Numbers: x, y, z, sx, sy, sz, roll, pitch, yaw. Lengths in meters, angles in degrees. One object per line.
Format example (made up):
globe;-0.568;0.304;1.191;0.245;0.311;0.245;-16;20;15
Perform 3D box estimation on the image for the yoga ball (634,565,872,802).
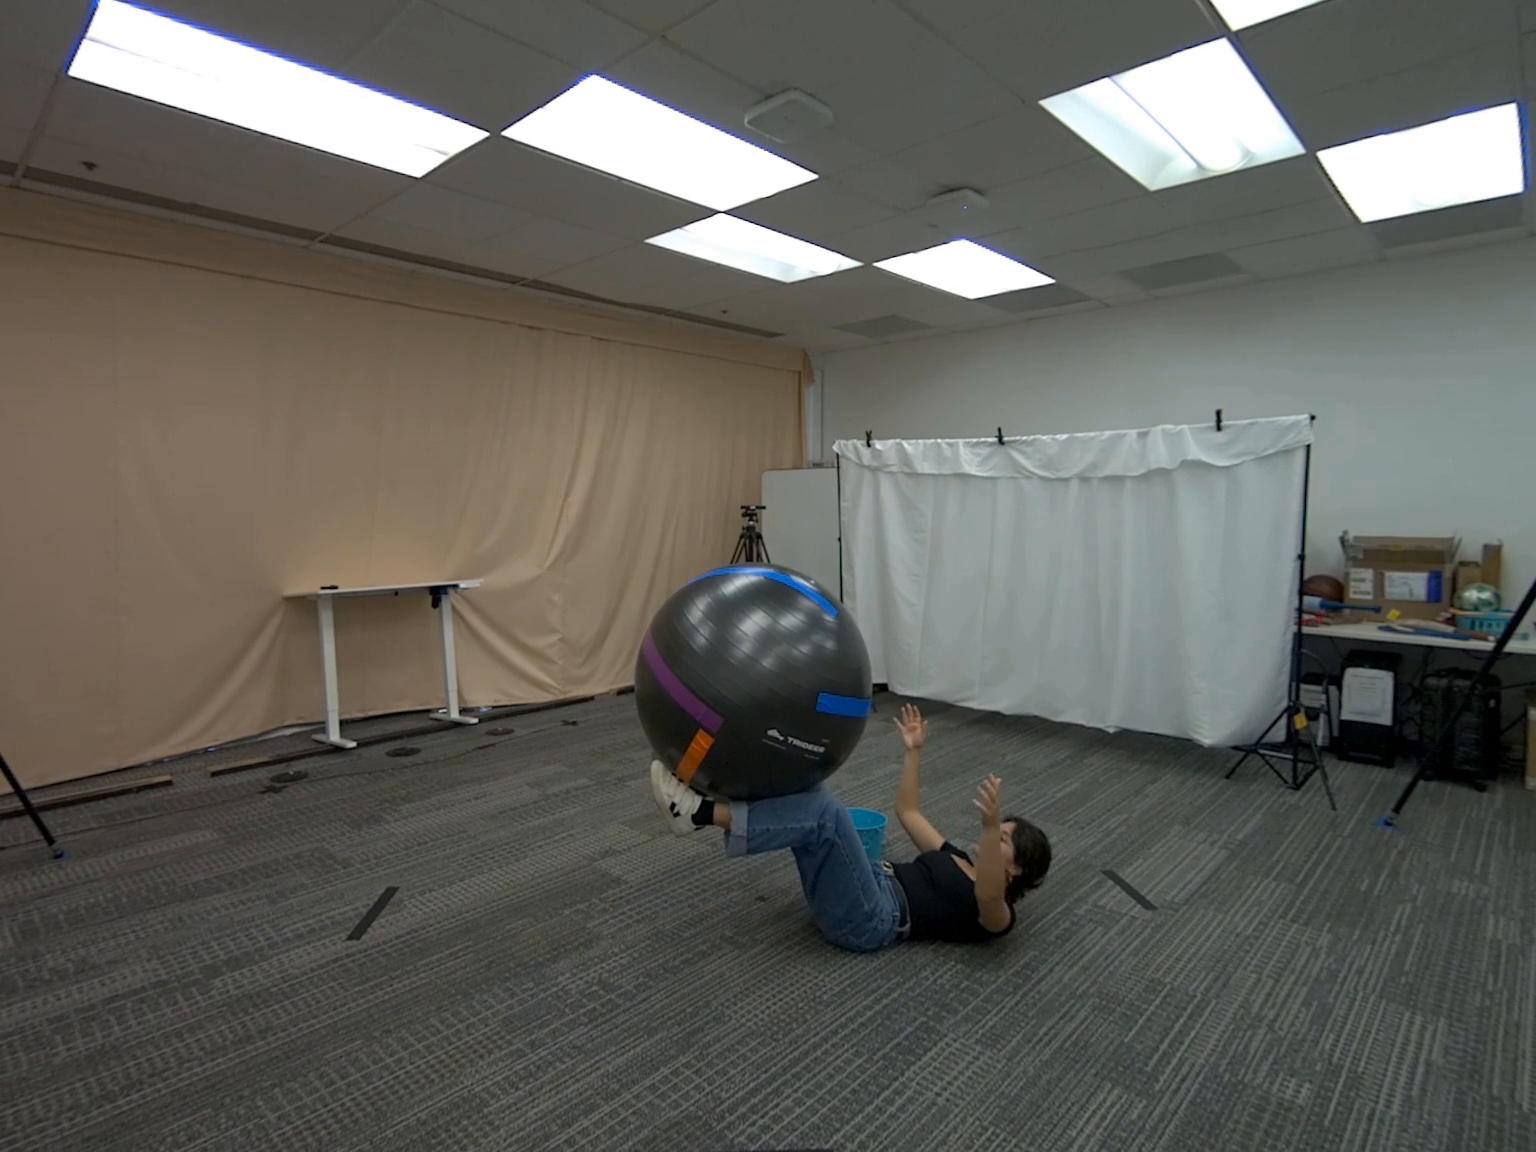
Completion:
yoga ball;-0.044;0.343;2.691;0.757;0.756;0.761;0;4;-2
